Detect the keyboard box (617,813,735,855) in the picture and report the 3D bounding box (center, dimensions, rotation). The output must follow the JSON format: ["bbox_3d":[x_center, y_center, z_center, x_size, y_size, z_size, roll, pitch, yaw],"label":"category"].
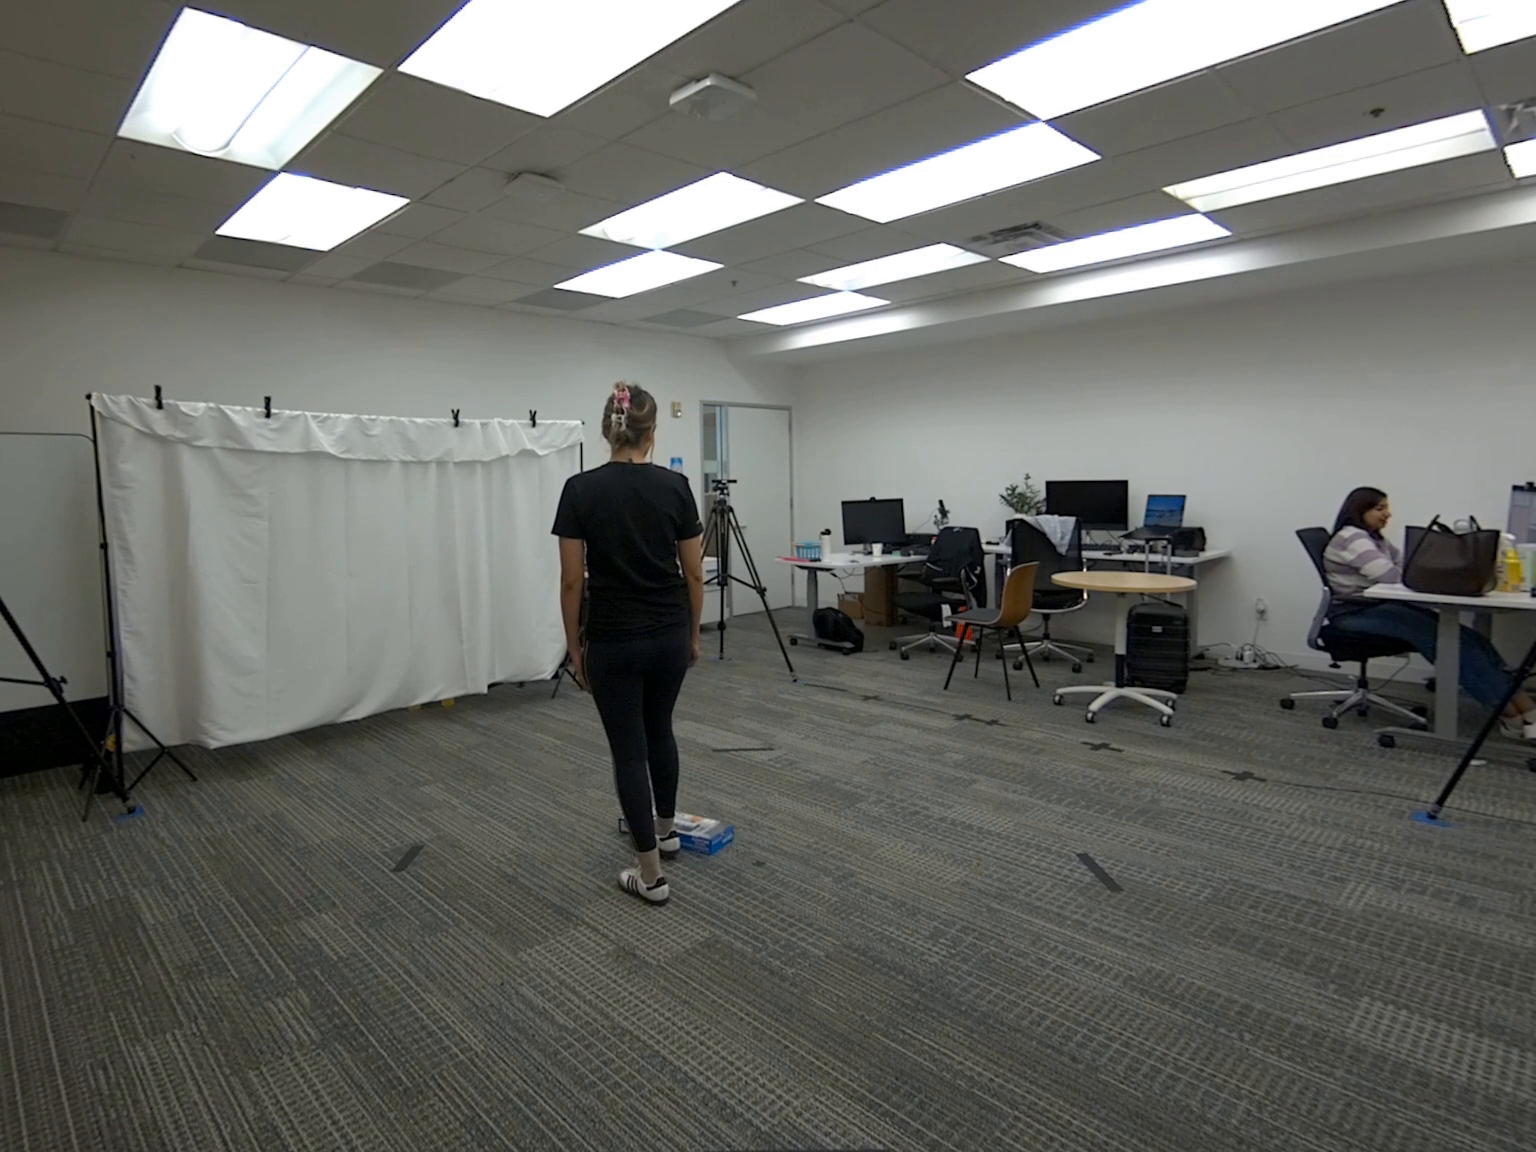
[{"bbox_3d":[-0.358,0.995,3.371,0.449,0.059,0.172,3,6,31],"label":"keyboard box"}]
